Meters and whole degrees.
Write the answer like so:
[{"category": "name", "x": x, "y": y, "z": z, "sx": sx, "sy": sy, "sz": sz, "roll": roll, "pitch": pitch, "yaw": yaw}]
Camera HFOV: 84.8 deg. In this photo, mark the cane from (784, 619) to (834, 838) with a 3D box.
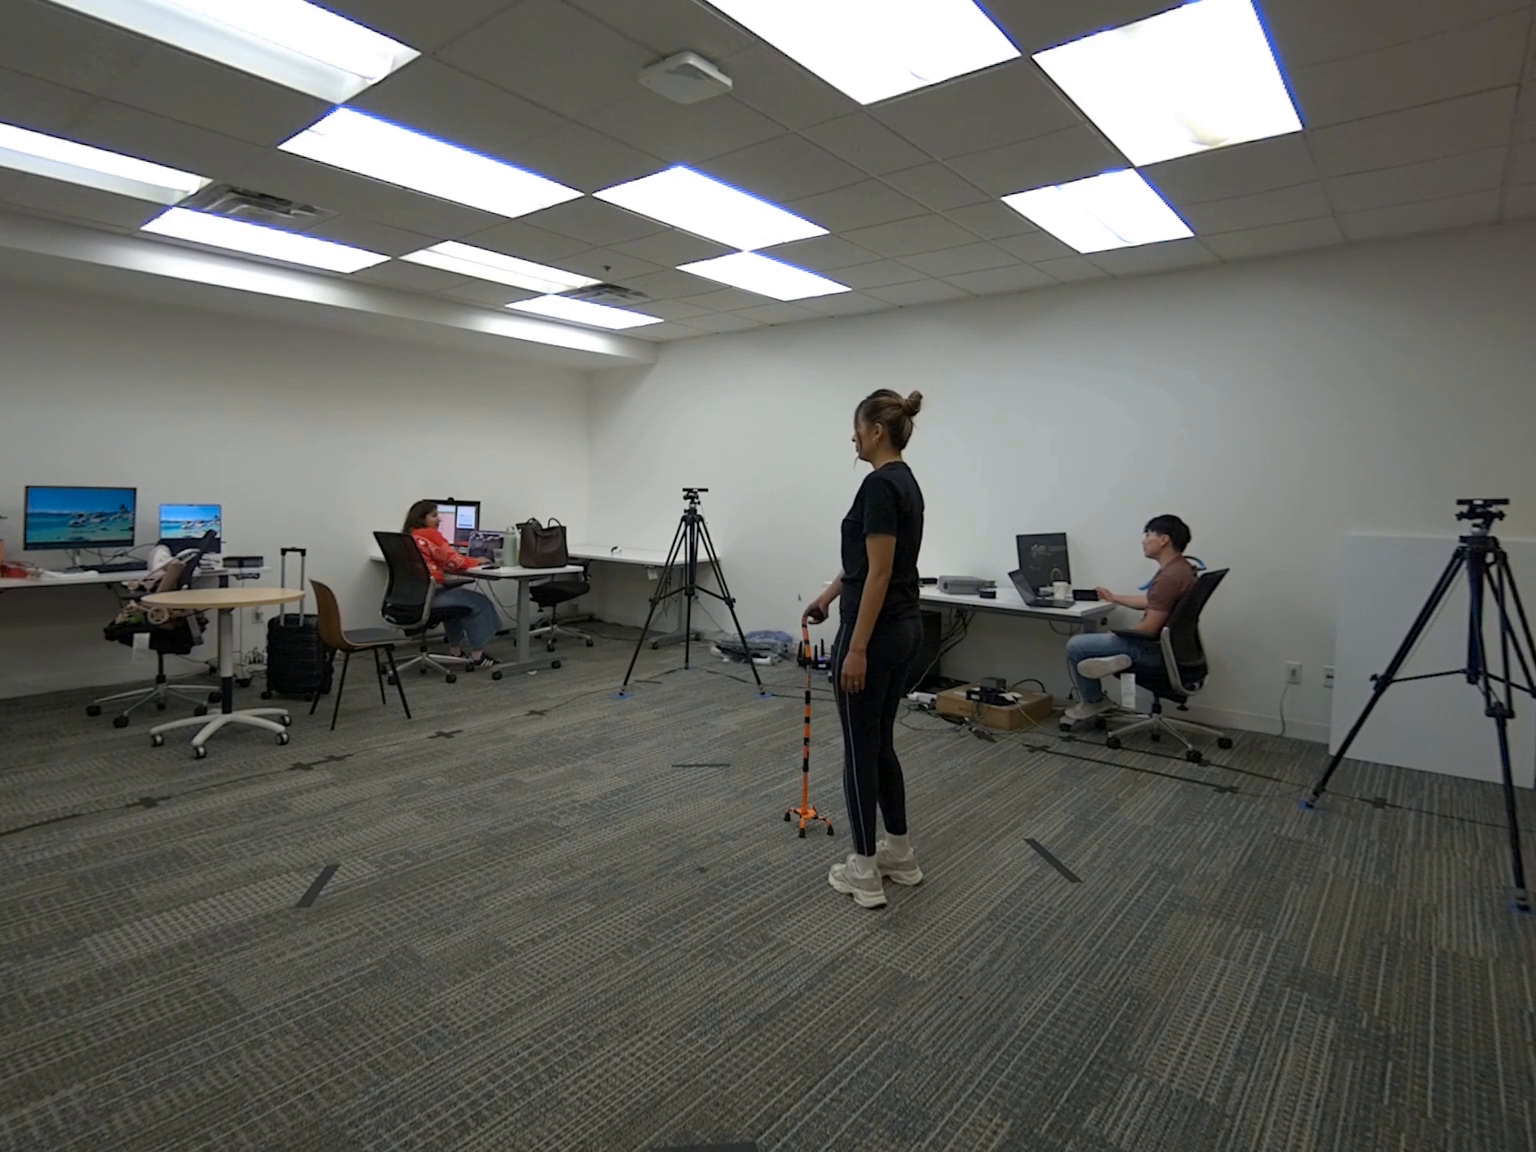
[{"category": "cane", "x": 0.166, "y": 0.580, "z": 3.500, "sx": 0.149, "sy": 0.905, "sz": 0.211, "roll": 0, "pitch": 3, "yaw": -20}]
